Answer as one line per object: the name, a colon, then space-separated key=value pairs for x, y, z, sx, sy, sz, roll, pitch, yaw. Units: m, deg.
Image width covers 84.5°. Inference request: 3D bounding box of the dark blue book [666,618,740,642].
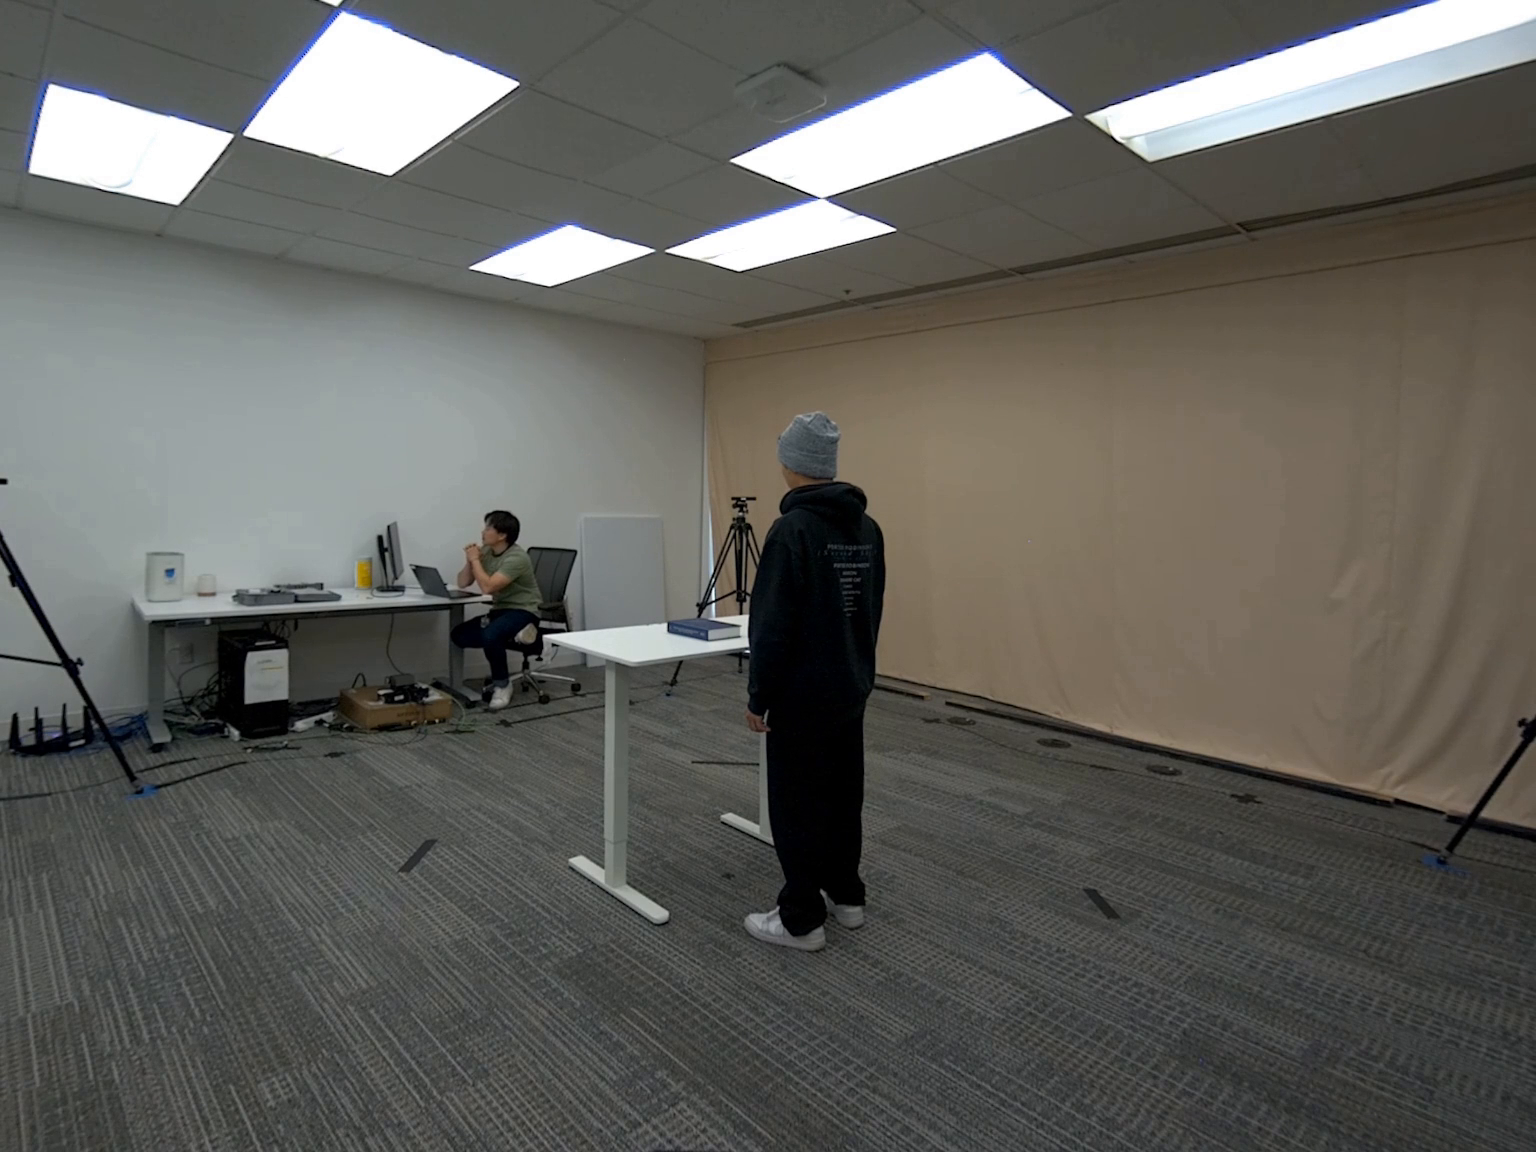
dark blue book: x=-0.256 y=0.201 z=3.133 sx=0.160 sy=0.045 sz=0.251 roll=-4 pitch=7 yaw=-42
